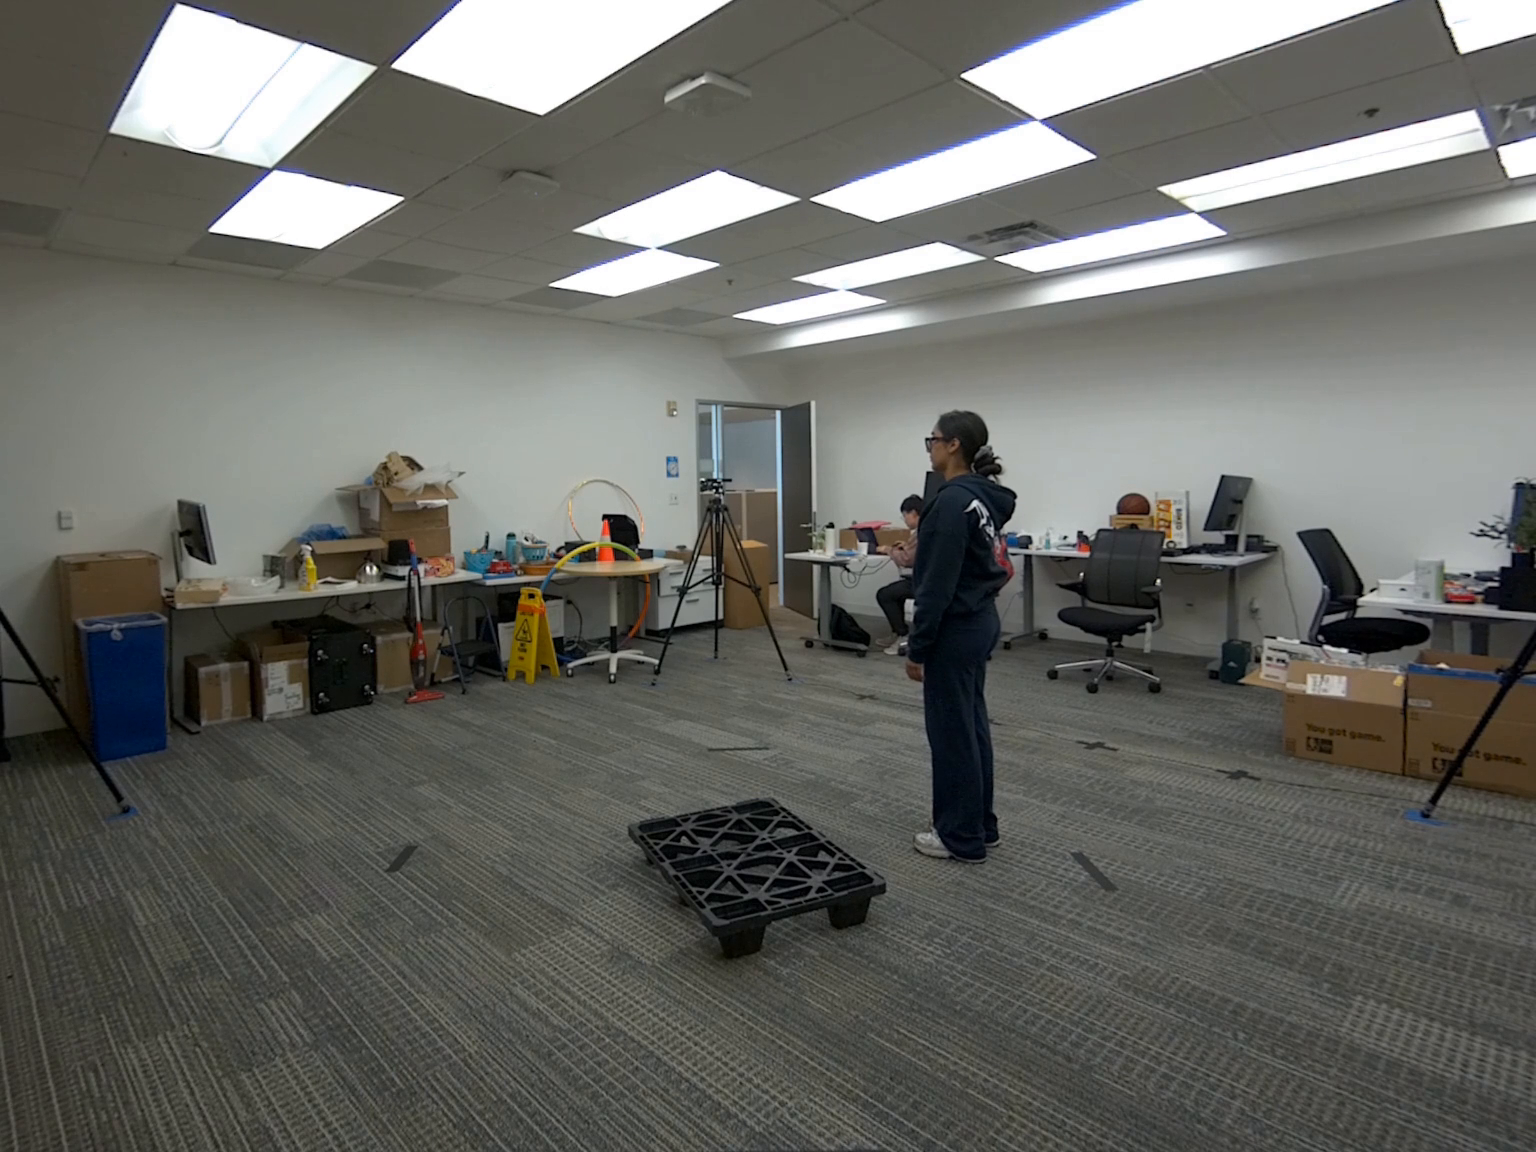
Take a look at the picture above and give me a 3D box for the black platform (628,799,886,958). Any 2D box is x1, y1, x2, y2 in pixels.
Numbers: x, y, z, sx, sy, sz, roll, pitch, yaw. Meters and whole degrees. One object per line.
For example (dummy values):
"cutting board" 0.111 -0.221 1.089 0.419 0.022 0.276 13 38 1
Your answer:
"black platform" -0.070 1.001 2.907 0.593 0.142 0.826 -5 7 -26
